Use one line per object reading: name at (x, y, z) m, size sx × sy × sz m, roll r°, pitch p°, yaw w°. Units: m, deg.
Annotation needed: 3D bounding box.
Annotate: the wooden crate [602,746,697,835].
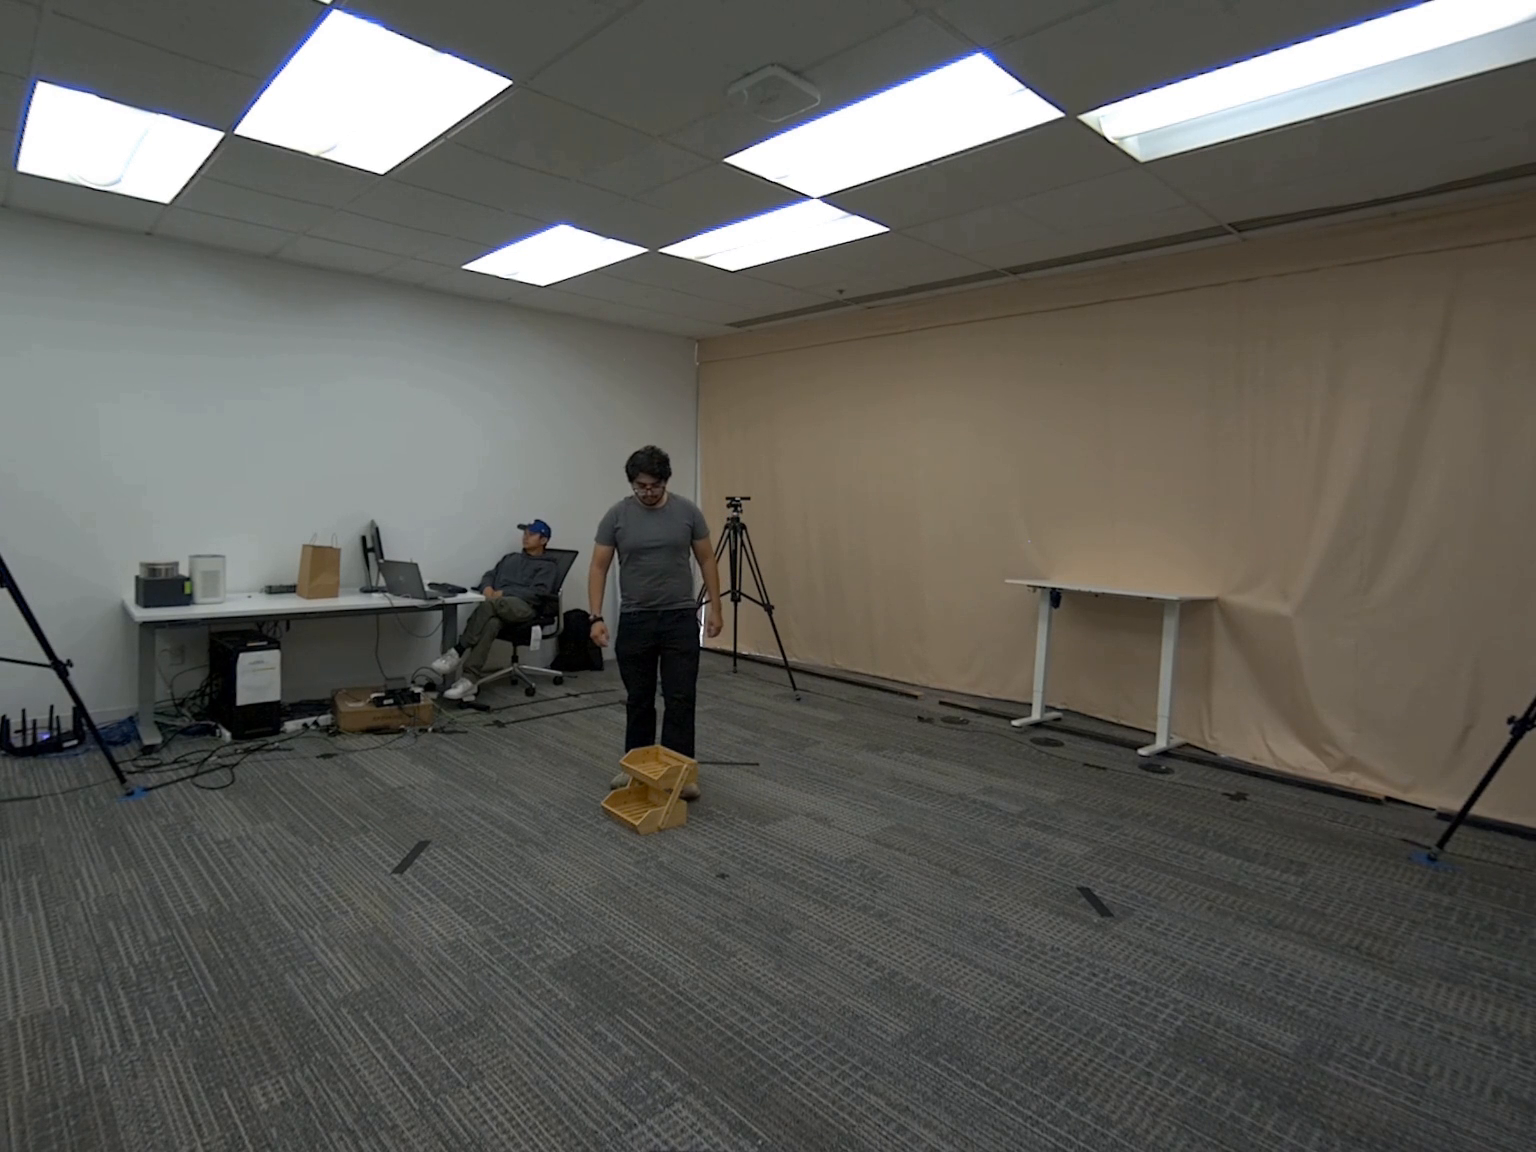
wooden crate at (-0.531, 0.918, 3.658) m, size 0.295 × 0.272 × 0.333 m, roll -1°, pitch 5°, yaw -40°
